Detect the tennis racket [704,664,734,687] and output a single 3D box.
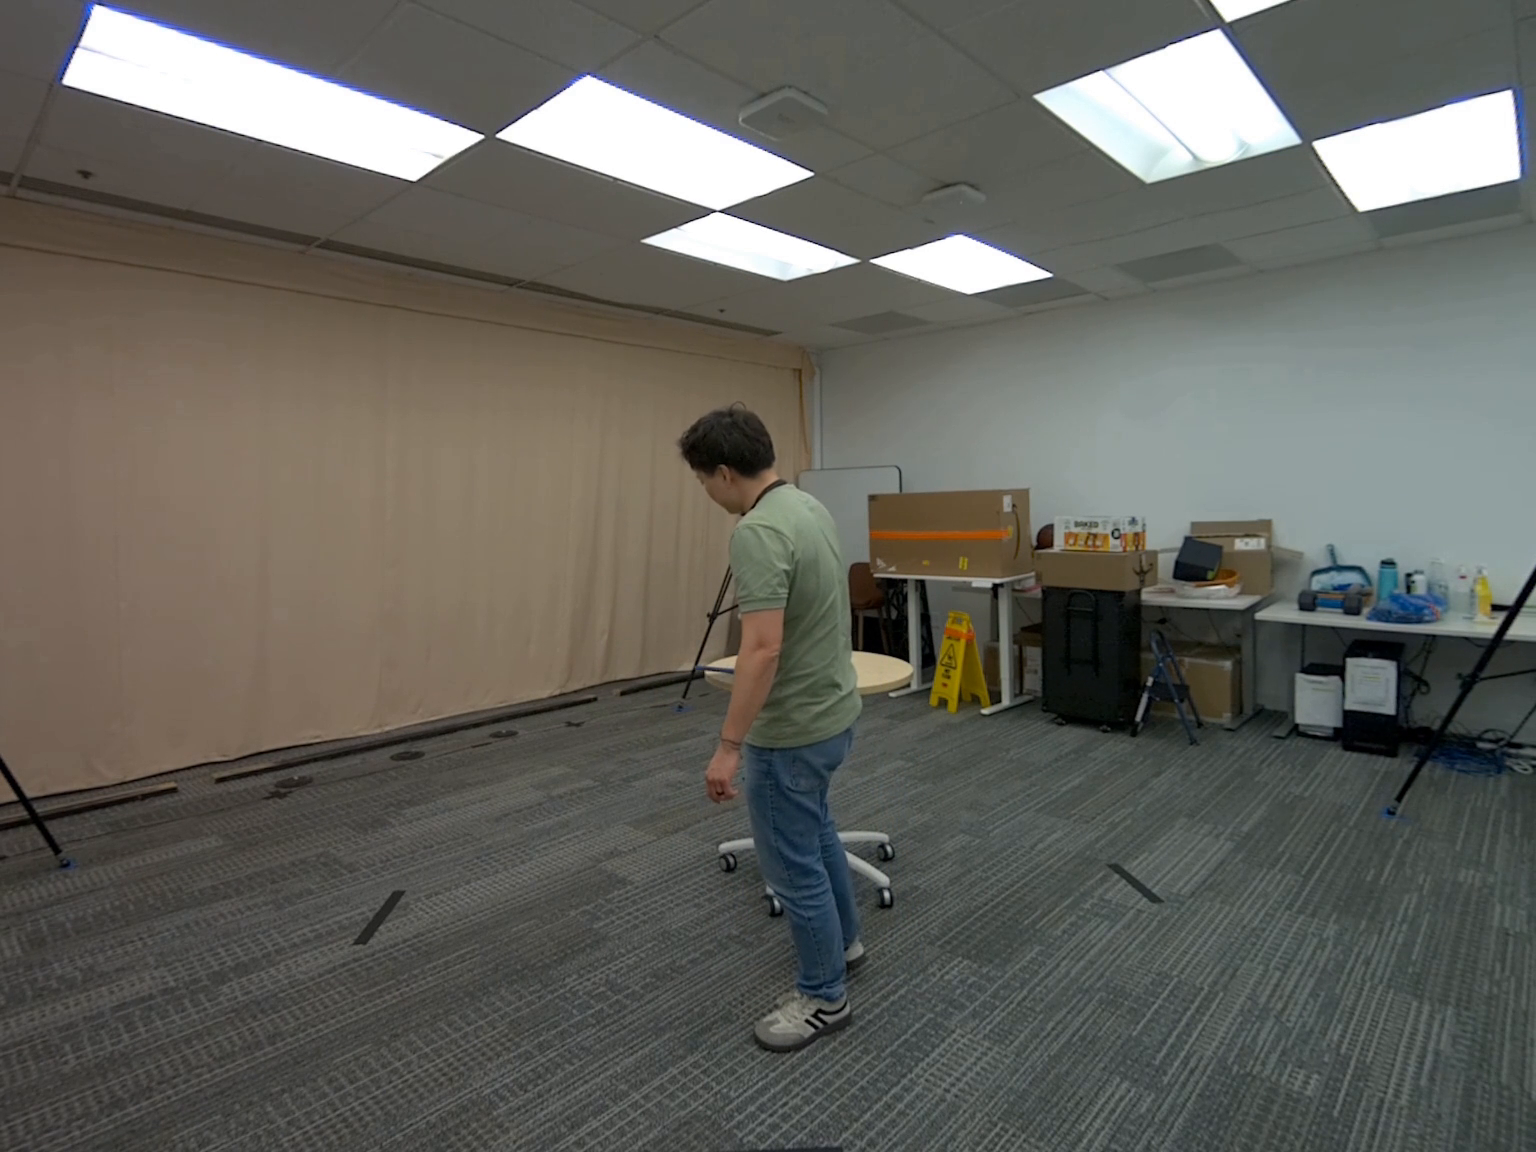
[{"bbox_3d":[-0.115,0.331,2.842,0.210,0.032,0.439,7,-7,-17],"label":"tennis racket"}]
